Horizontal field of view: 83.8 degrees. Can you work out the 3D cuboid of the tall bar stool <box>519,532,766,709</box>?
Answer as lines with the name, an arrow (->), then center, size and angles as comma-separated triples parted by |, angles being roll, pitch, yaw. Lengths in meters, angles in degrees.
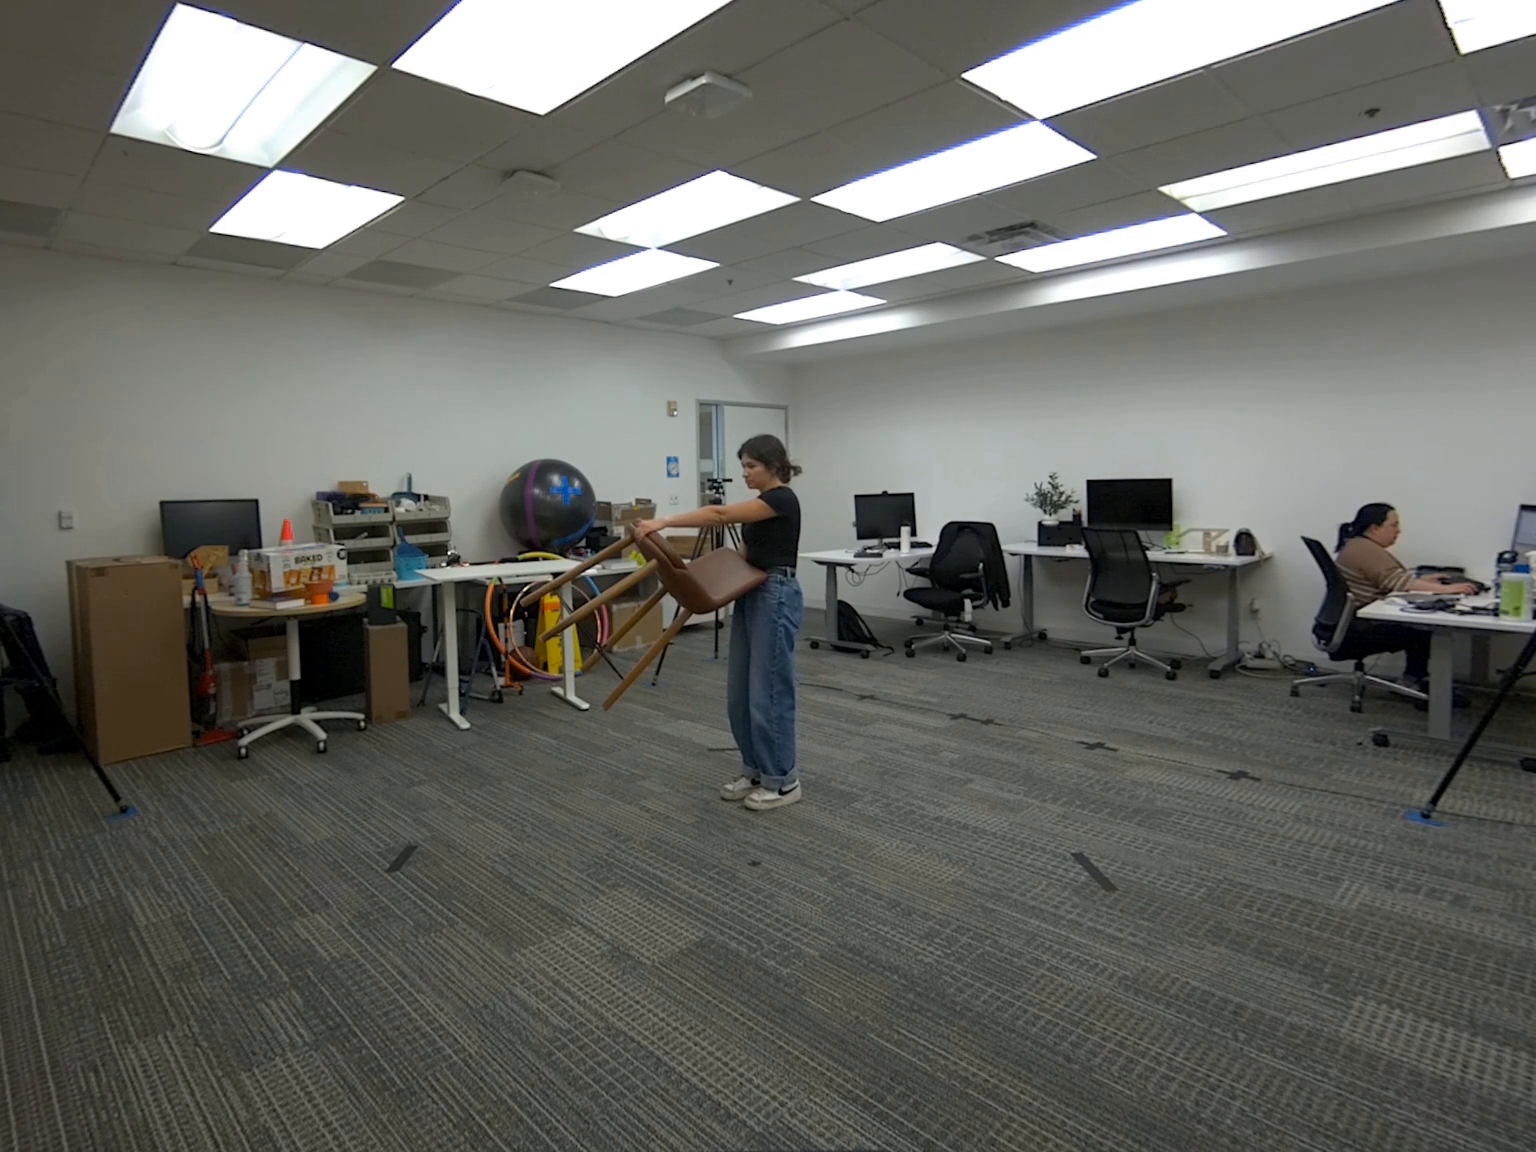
tall bar stool -> -0.512, 0.067, 3.560 | 0.888, 0.453, 0.472 | -38, 30, -10
